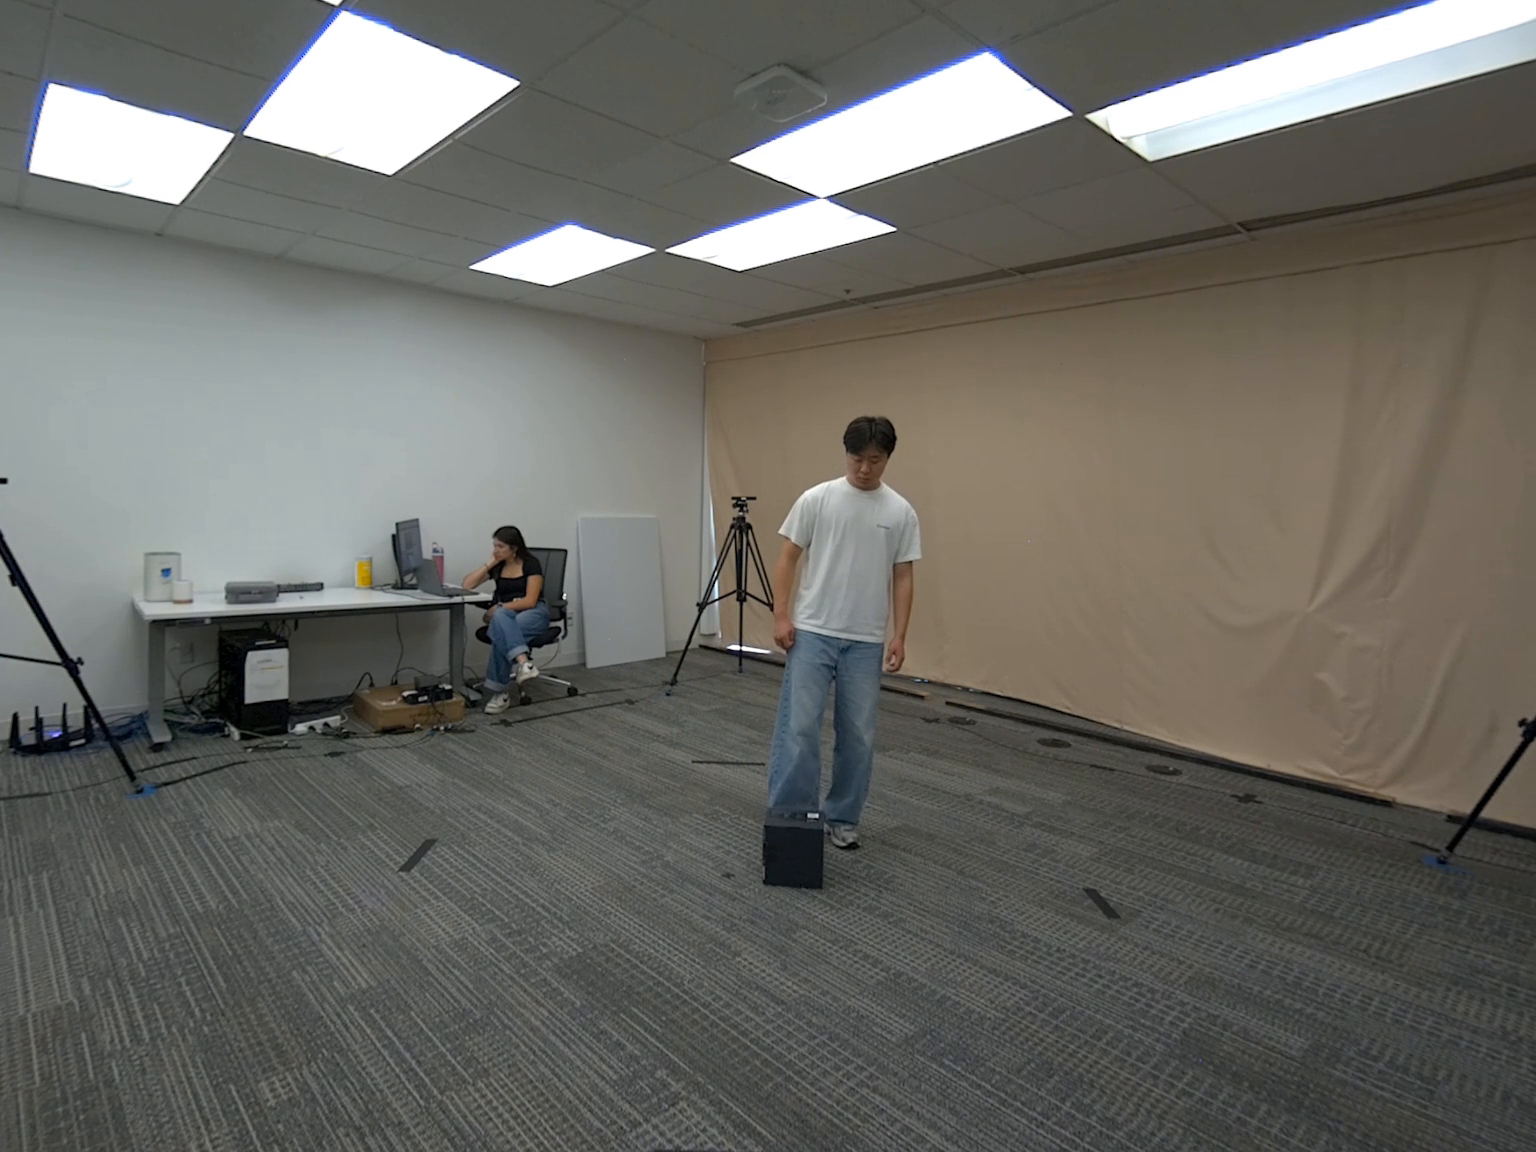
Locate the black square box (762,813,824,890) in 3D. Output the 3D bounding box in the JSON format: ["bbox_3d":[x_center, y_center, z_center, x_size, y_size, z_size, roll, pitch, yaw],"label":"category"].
[{"bbox_3d":[0.084,0.995,3.083,0.218,0.227,0.156,2,6,6],"label":"black square box"}]
